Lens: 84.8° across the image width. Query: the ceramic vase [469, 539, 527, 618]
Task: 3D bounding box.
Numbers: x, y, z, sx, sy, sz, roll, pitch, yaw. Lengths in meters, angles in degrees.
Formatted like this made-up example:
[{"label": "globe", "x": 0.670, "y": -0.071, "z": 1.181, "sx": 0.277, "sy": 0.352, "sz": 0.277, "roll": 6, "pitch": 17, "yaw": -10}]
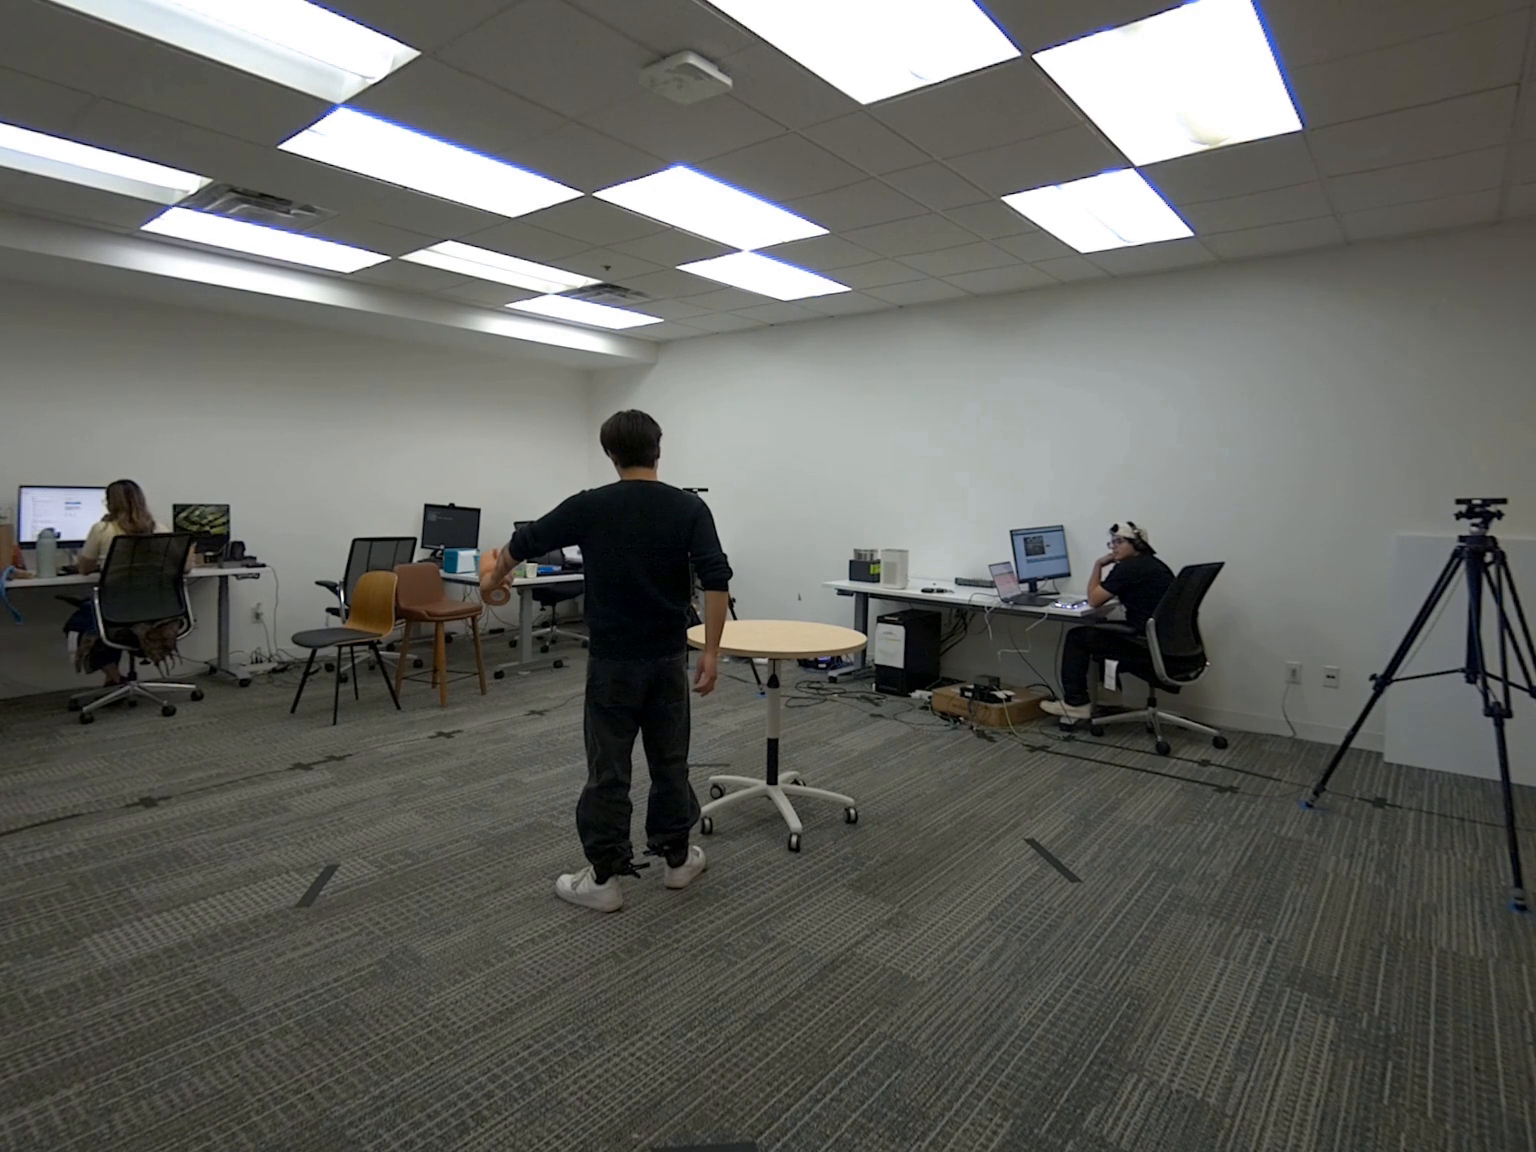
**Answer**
[{"label": "ceramic vase", "x": -1.035, "y": 0.006, "z": 3.231, "sx": 0.135, "sy": 0.153, "sz": 0.228, "roll": -35, "pitch": 35, "yaw": 10}]
